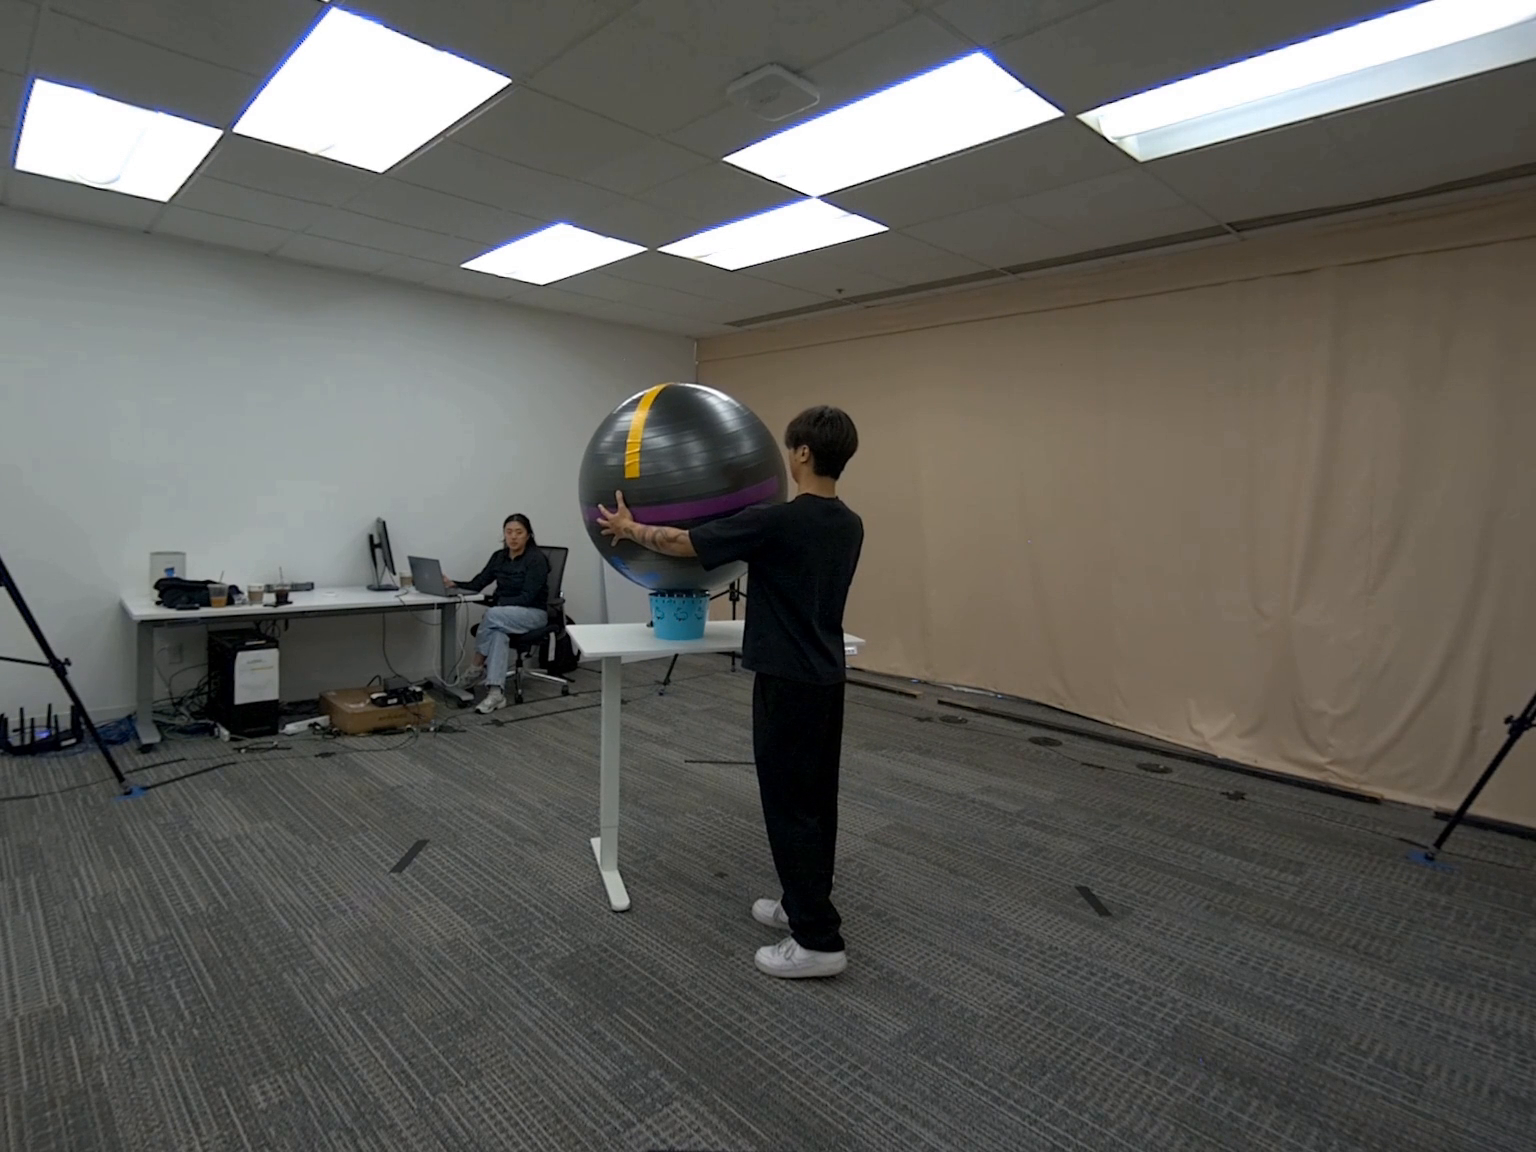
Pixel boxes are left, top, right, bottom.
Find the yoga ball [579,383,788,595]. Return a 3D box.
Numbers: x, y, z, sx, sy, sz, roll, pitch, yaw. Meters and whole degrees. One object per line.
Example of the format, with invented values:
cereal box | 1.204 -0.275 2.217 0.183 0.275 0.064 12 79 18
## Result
yoga ball | -0.309 -0.313 3.063 0.757 0.756 0.761 1 4 -1
